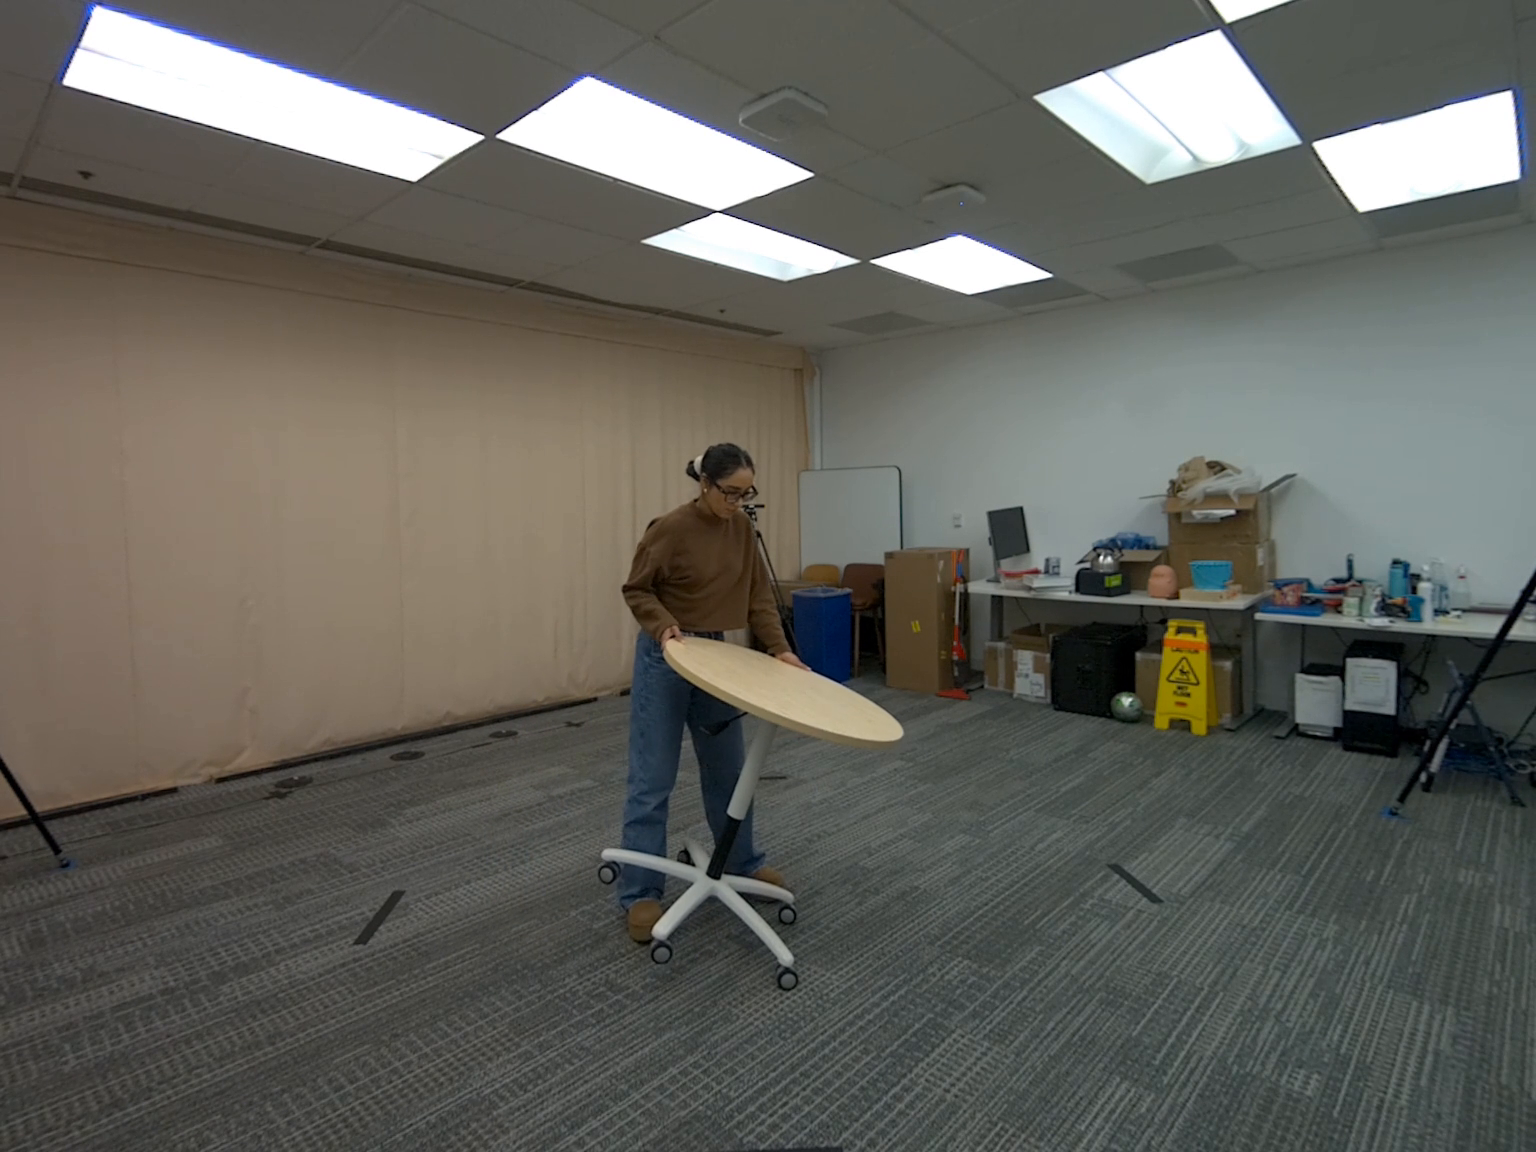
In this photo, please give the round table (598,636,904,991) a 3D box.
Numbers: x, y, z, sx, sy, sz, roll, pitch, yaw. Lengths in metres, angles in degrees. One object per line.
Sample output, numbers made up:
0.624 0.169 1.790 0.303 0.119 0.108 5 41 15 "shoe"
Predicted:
-0.076 0.707 2.603 0.762 0.793 0.767 19 5 -4 "round table"
